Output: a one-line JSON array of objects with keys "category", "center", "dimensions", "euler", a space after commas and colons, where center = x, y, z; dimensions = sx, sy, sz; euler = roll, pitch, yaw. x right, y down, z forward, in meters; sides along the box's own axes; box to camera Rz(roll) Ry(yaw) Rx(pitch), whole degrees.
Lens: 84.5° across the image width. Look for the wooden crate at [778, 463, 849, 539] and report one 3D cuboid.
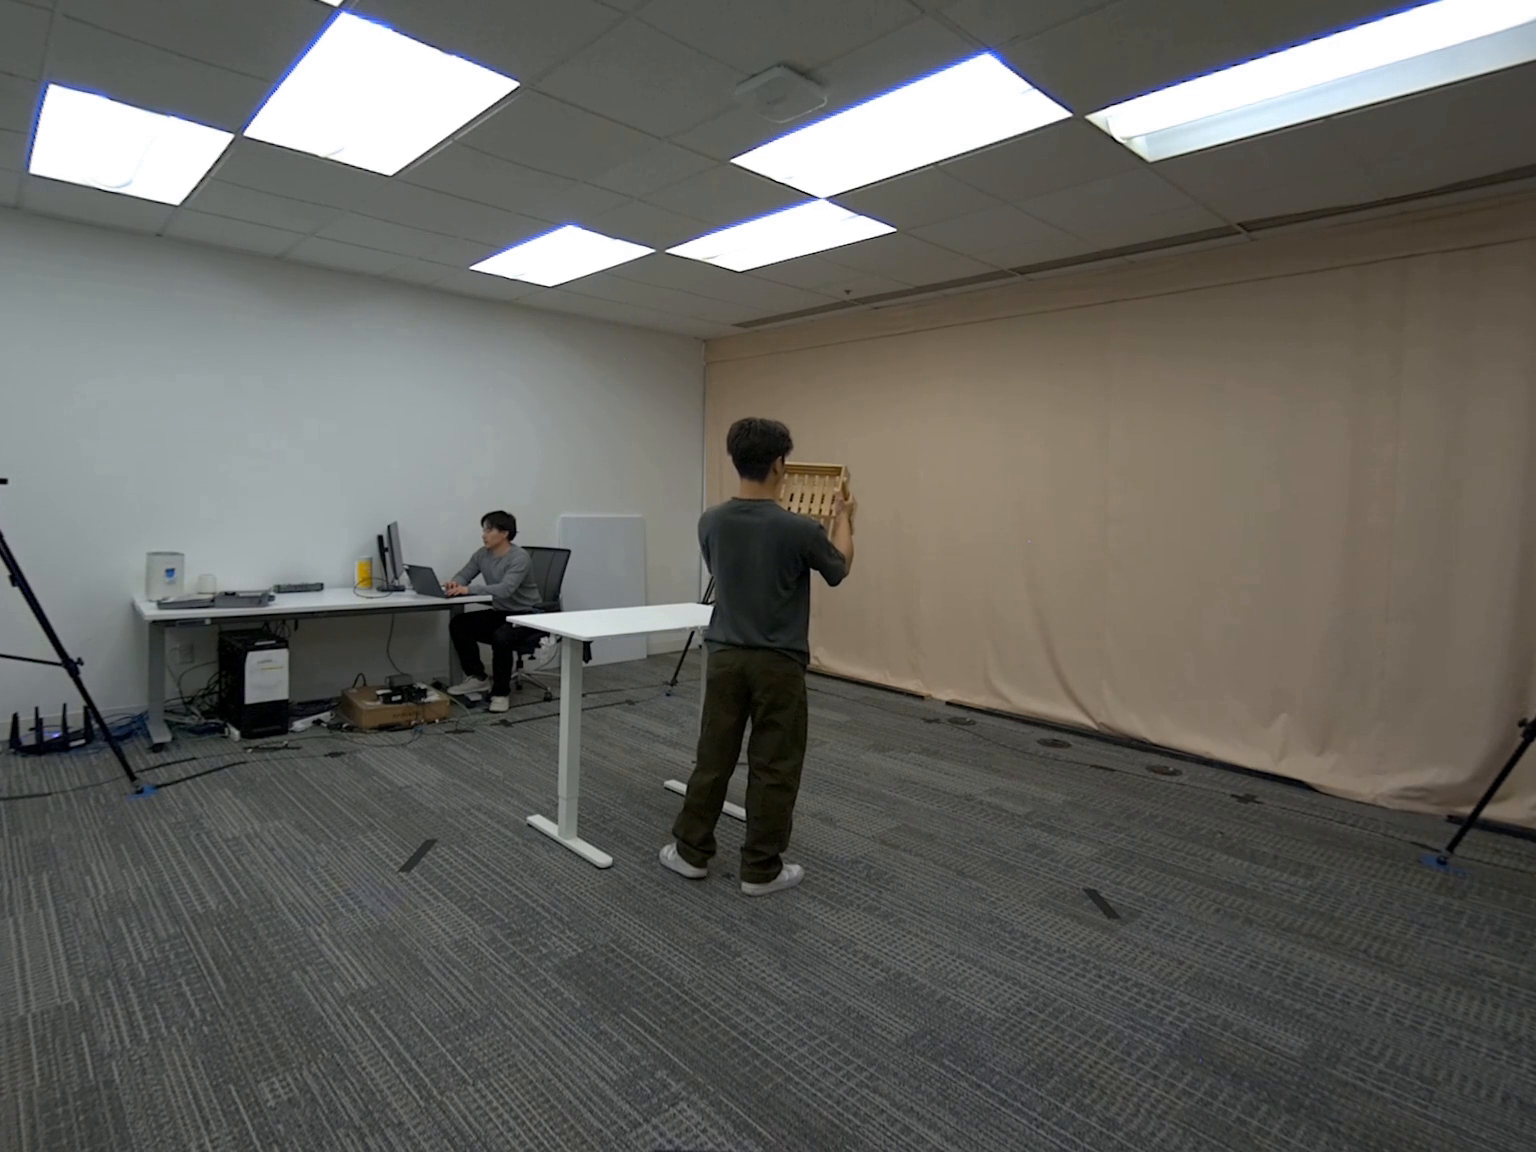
[{"category": "wooden crate", "center": [0.160, -0.256, 3.341], "dimensions": [0.330, 0.305, 0.266], "euler": [6, -20, 22]}]
